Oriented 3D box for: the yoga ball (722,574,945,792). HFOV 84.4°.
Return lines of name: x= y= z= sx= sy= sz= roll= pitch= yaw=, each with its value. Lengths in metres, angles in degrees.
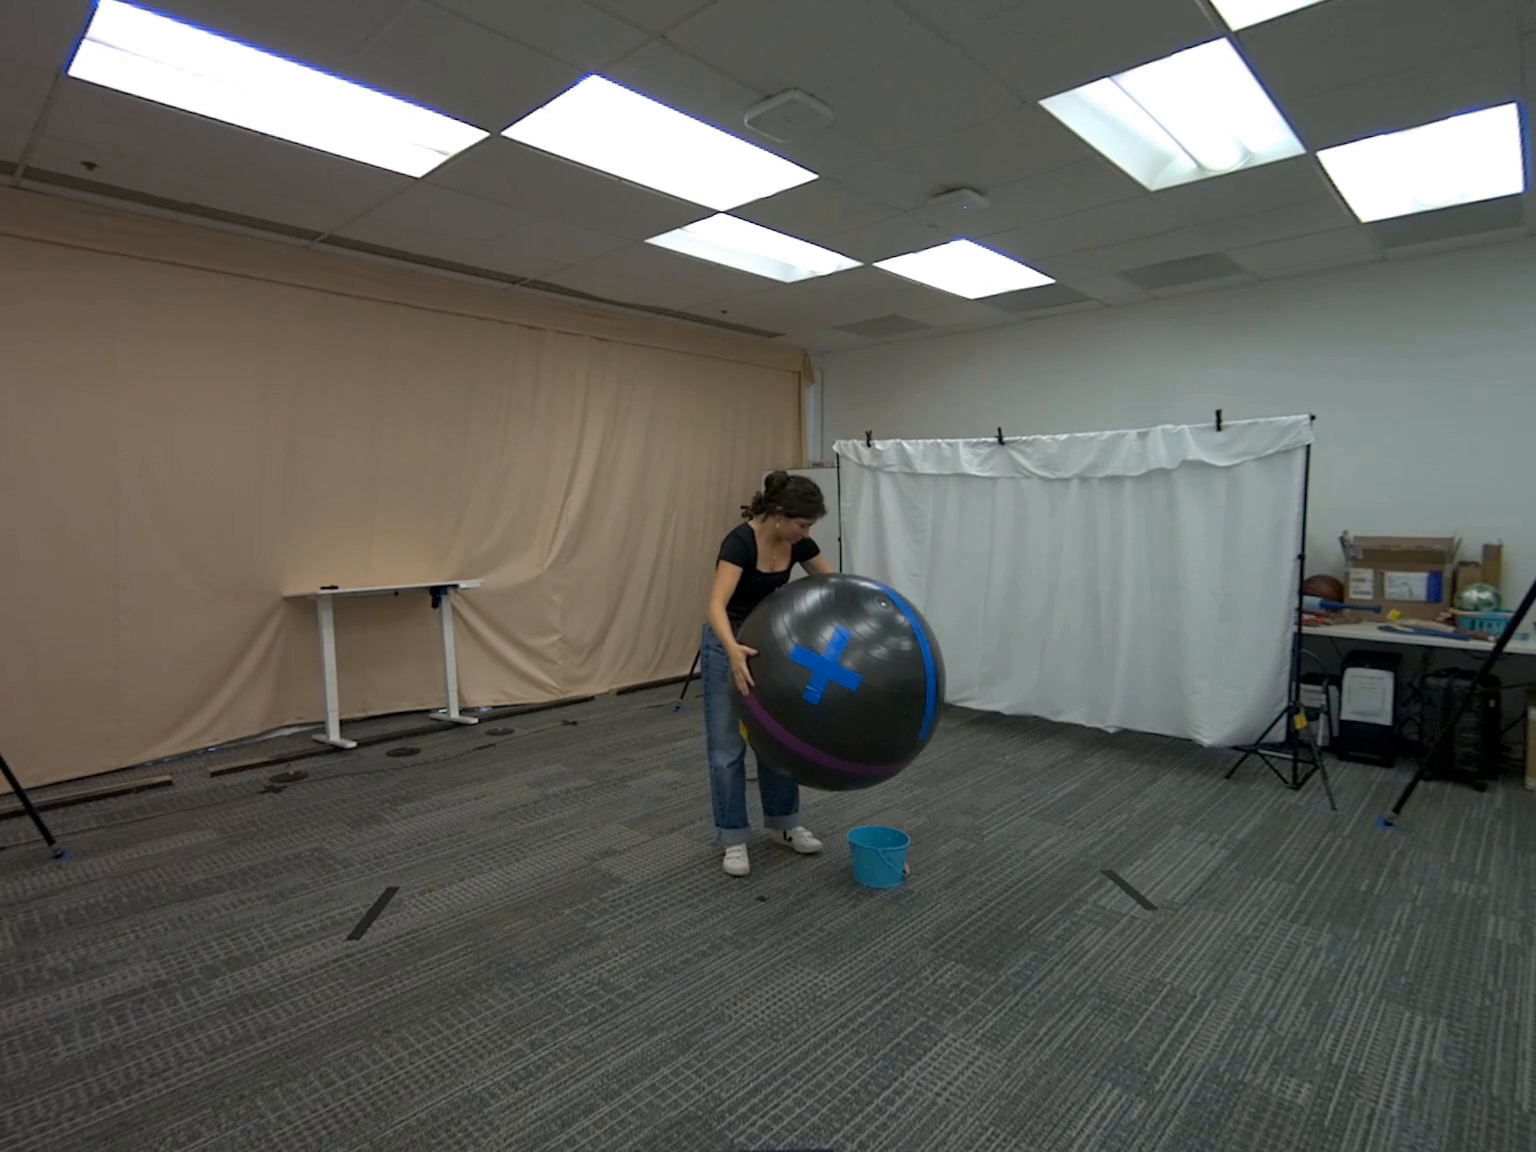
yoga ball: x=0.240 y=0.364 z=2.970 sx=0.757 sy=0.756 sz=0.760 roll=0 pitch=4 yaw=-2
